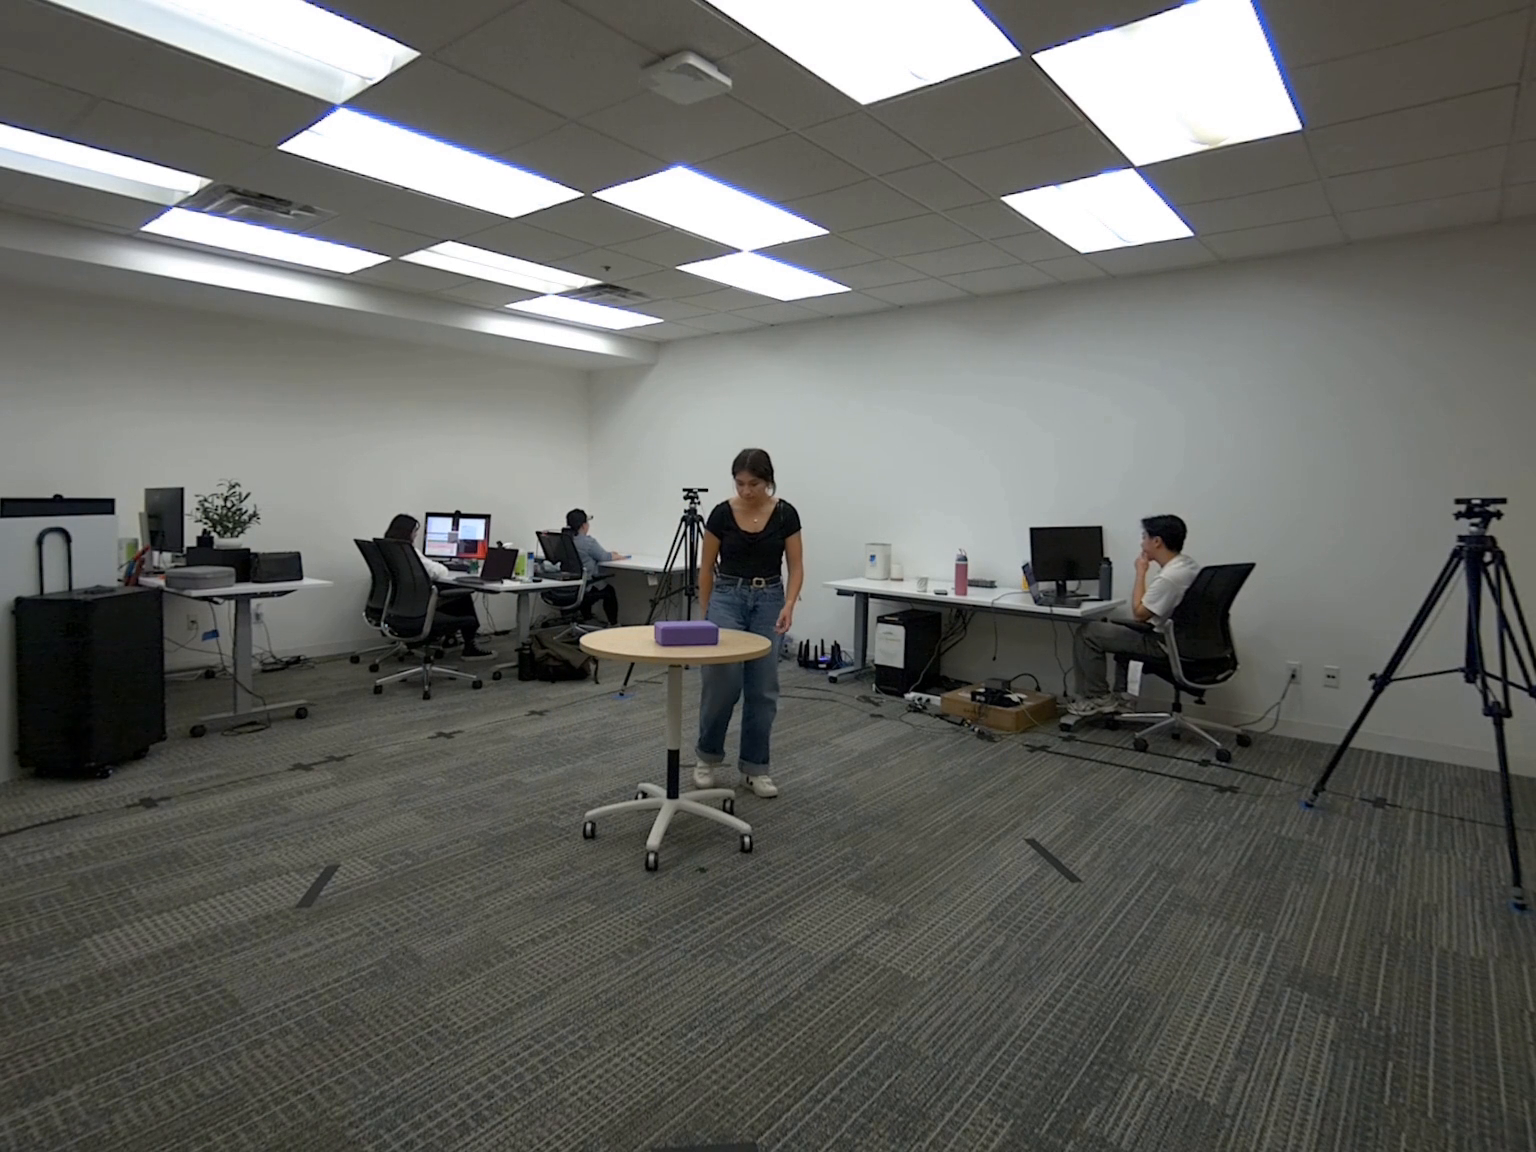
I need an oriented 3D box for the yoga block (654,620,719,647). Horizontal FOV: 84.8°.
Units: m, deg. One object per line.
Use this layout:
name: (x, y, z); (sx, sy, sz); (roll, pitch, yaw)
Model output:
yoga block: (-0.318, 0.218, 3.350); (0.226, 0.076, 0.152); (-1, 5, -15)
